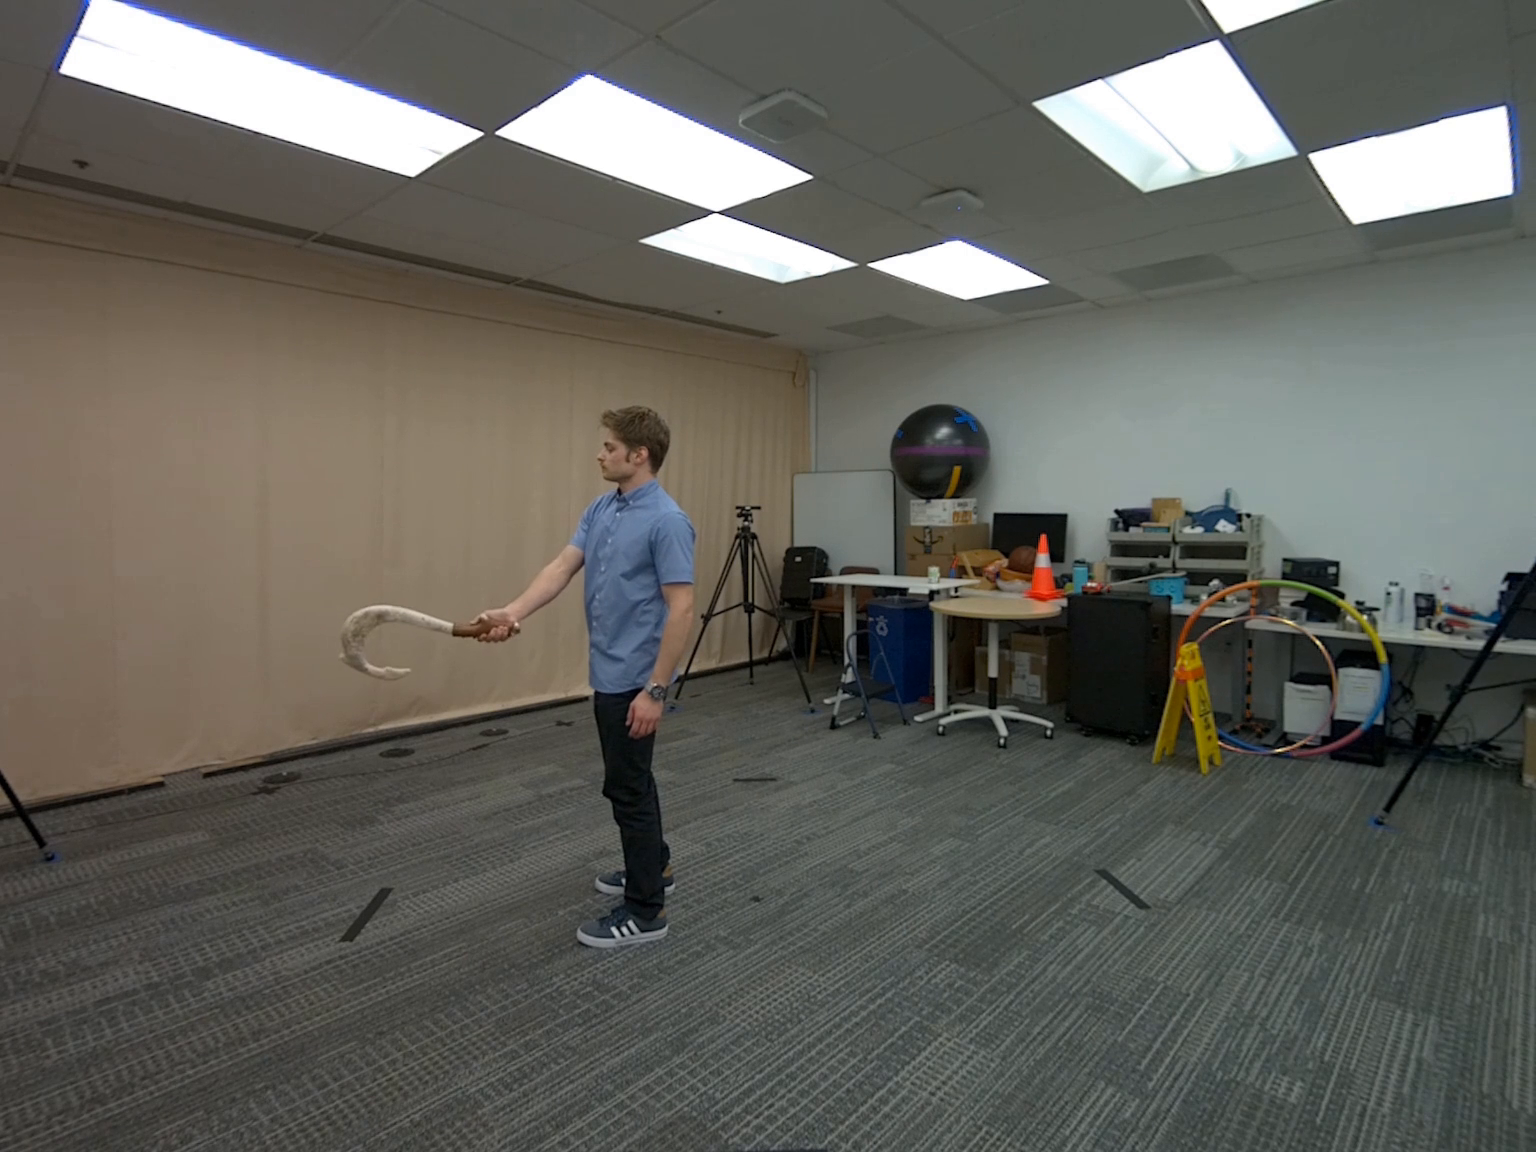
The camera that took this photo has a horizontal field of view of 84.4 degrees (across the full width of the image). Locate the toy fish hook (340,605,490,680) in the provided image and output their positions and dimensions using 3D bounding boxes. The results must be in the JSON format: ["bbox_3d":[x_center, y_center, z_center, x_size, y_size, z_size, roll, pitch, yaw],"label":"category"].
[{"bbox_3d":[-1.011,0.198,2.511,0.497,0.223,0.049,4,15,-18],"label":"toy fish hook"}]
